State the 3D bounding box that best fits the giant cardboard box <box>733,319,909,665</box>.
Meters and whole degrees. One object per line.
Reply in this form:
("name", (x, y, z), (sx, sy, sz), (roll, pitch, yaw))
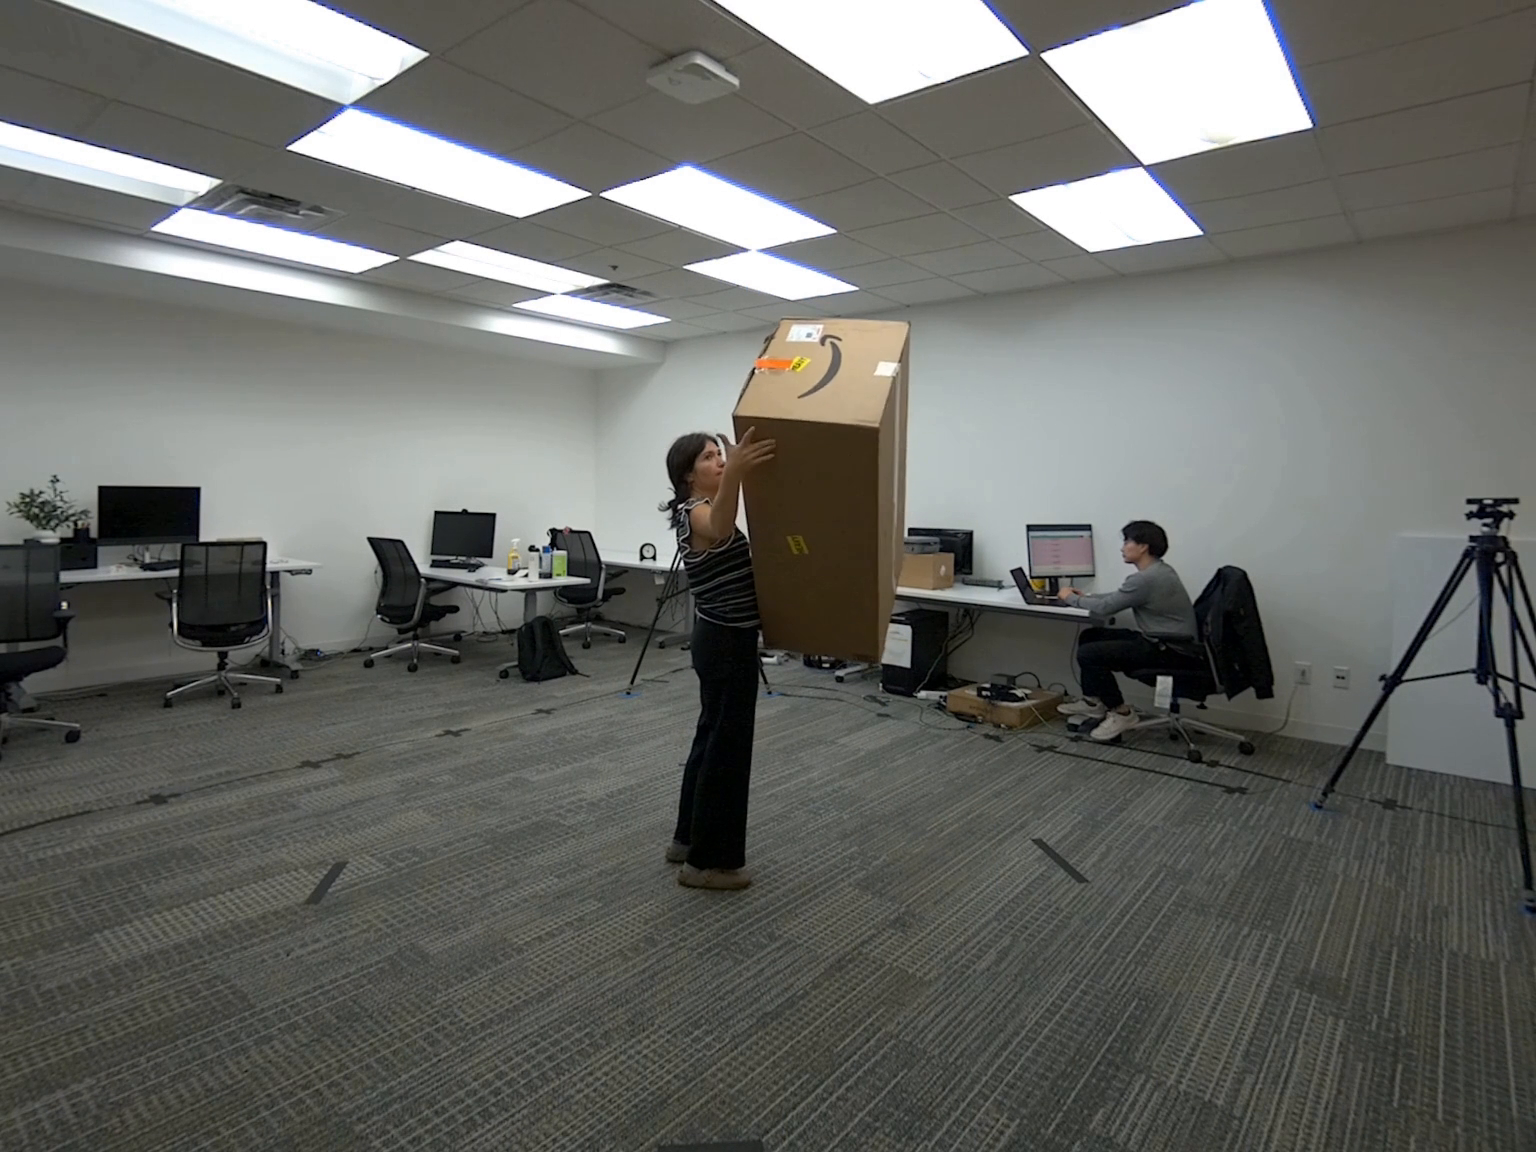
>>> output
("giant cardboard box", (0.205, -0.266, 2.883), (0.434, 0.992, 0.586), (8, 46, 15))
